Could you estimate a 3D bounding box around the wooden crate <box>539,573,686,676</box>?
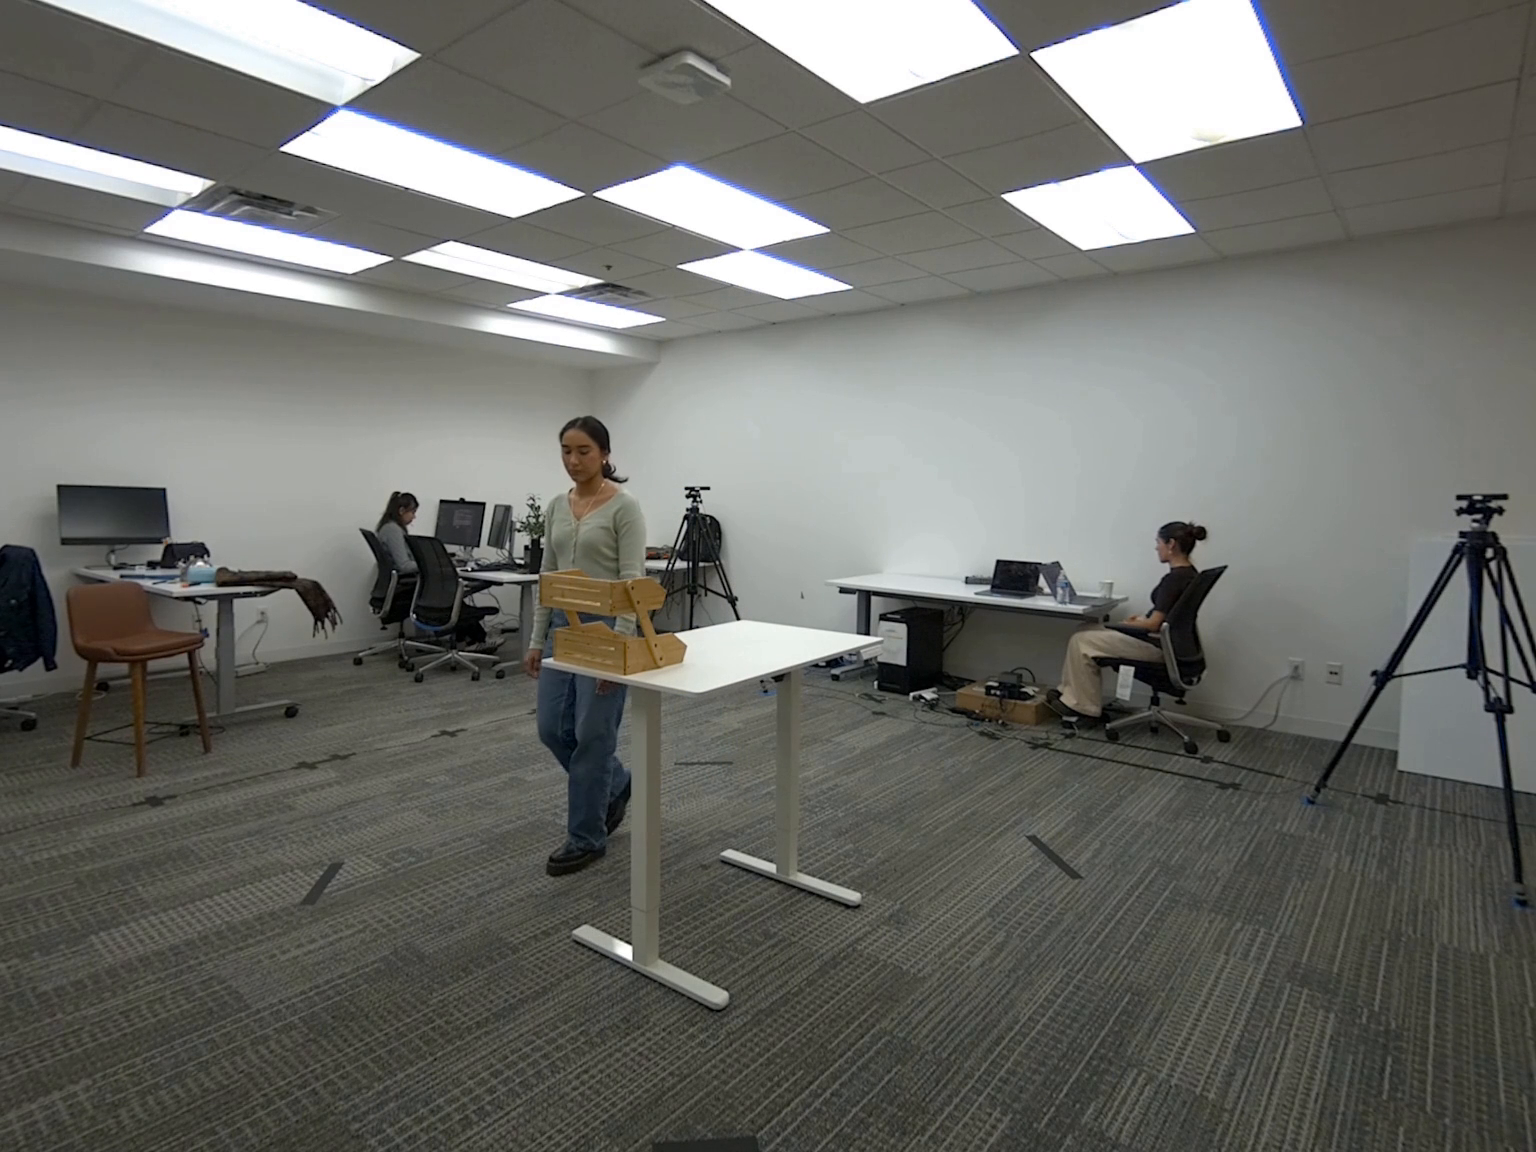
[{"bbox_3d":[-0.453,0.114,2.460,0.335,0.272,0.294,4,7,37],"label":"wooden crate"}]
